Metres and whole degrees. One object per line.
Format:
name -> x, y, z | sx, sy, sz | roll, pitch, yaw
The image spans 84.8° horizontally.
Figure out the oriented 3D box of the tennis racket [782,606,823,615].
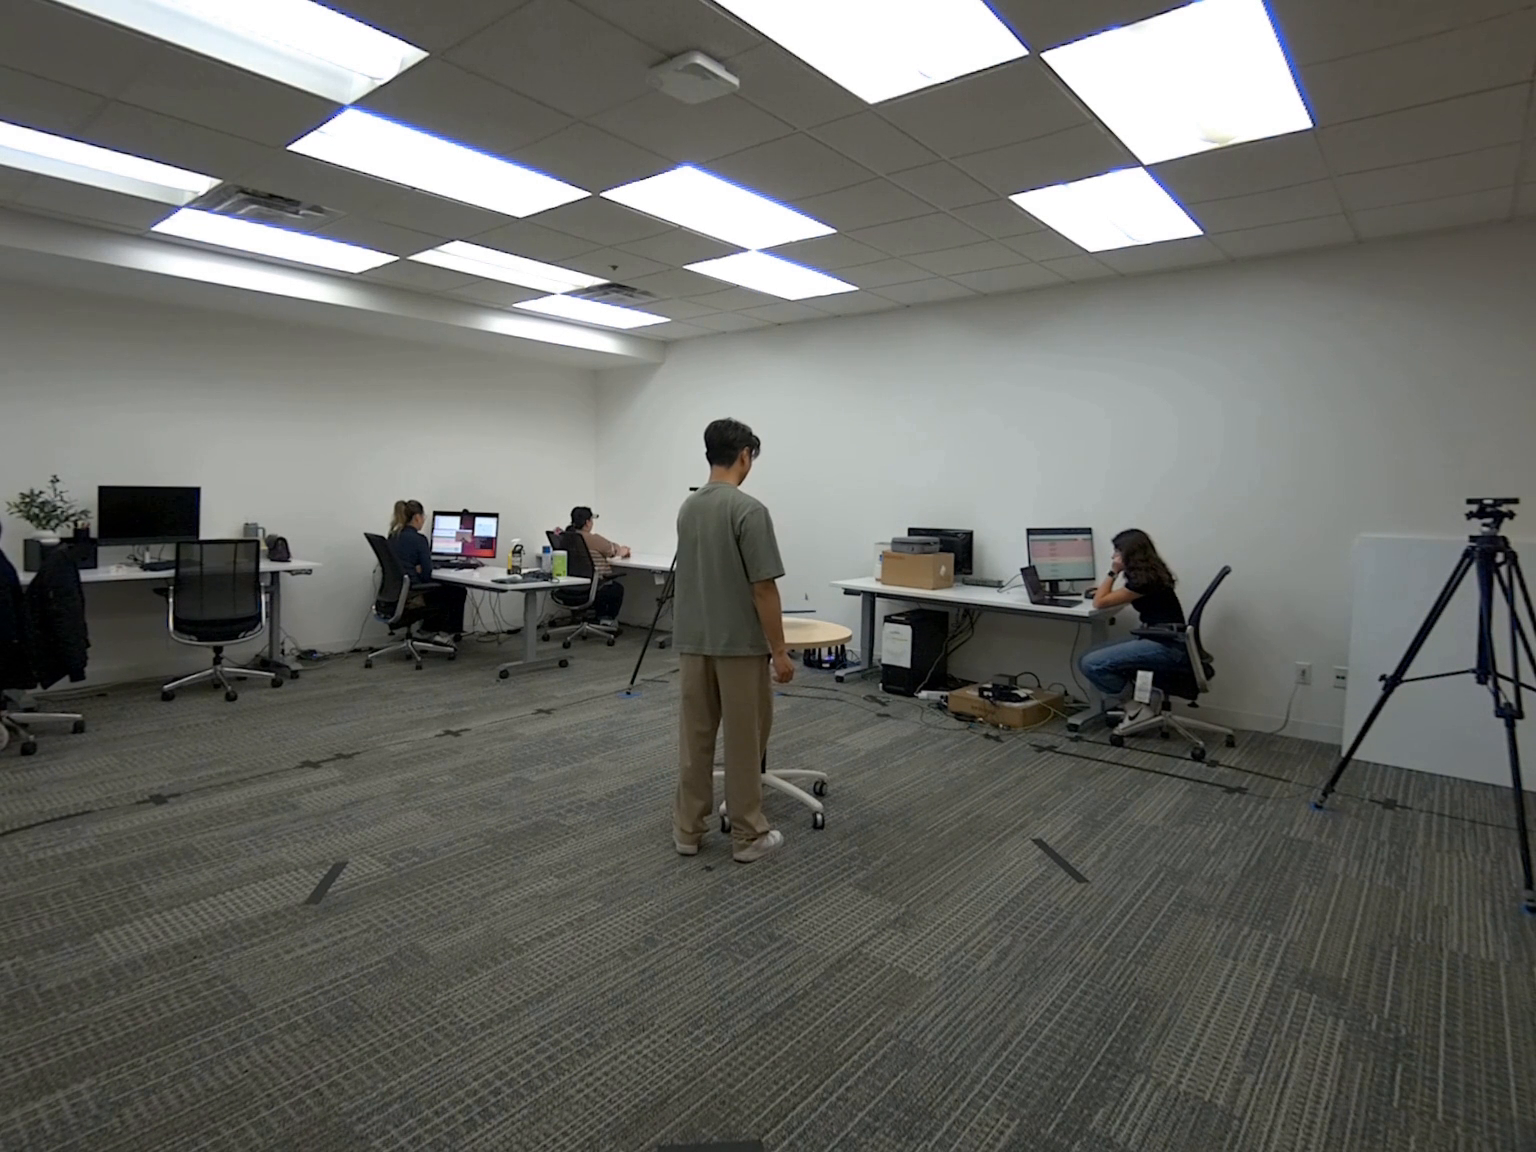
tennis racket -> 0.004, 0.157, 3.796 | 0.420, 0.032, 0.219 | 1, -3, -32
